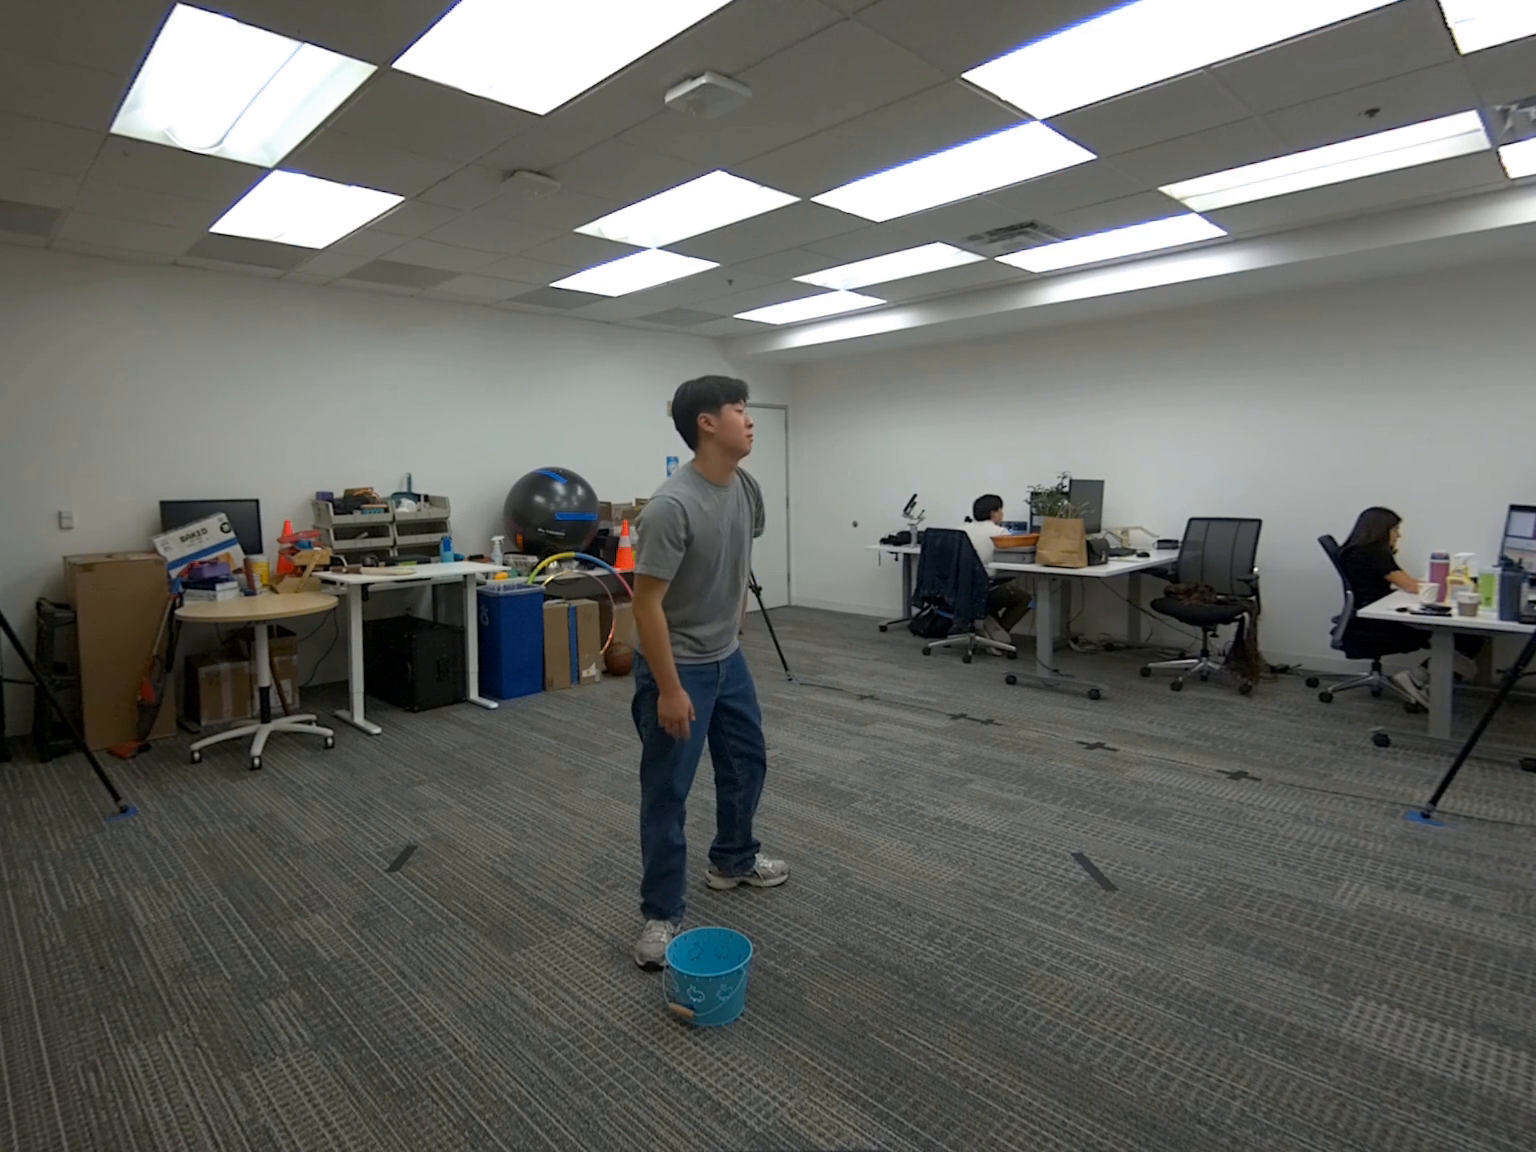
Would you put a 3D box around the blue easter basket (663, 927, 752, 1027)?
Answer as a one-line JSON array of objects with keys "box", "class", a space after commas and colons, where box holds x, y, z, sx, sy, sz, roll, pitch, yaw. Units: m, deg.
[{"box": [-0.157, 1.068, 2.277, 0.243, 0.155, 0.245, -1, 6, -2], "class": "blue easter basket"}]
